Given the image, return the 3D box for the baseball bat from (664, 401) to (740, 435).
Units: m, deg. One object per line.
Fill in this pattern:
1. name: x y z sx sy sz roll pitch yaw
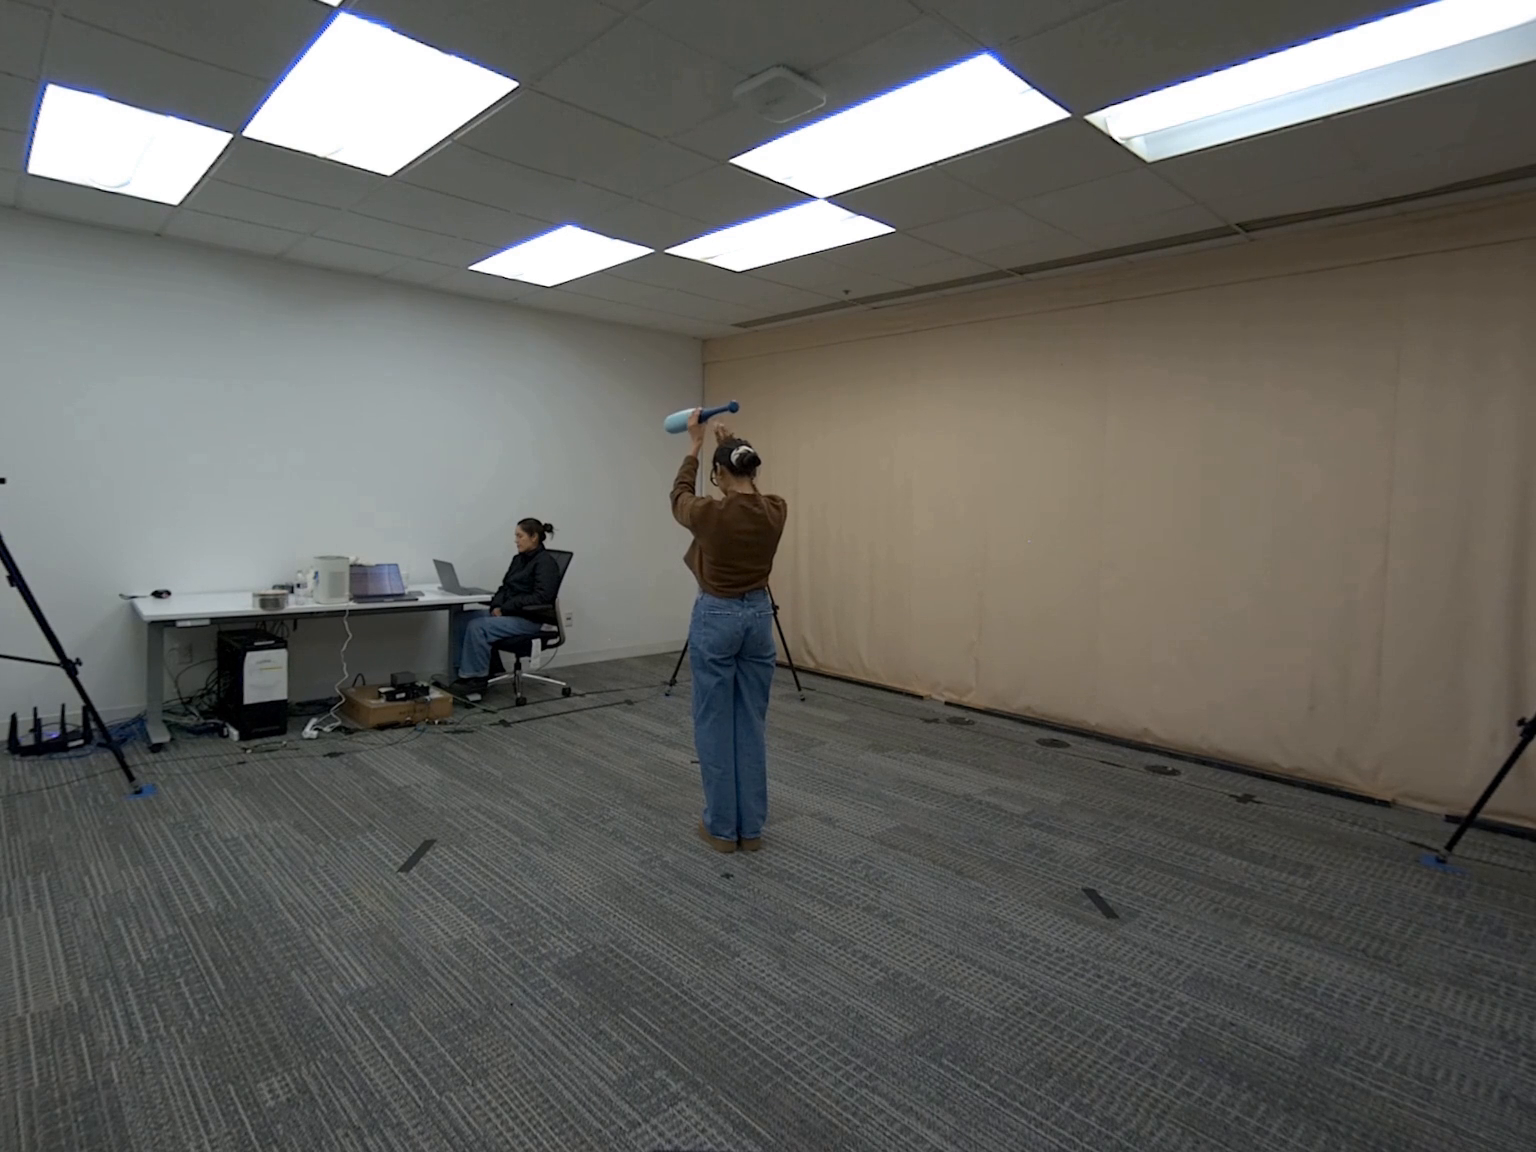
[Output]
1. baseball bat: -0.287 -0.683 3.576 0.087 0.089 0.554 -1 1 -33
